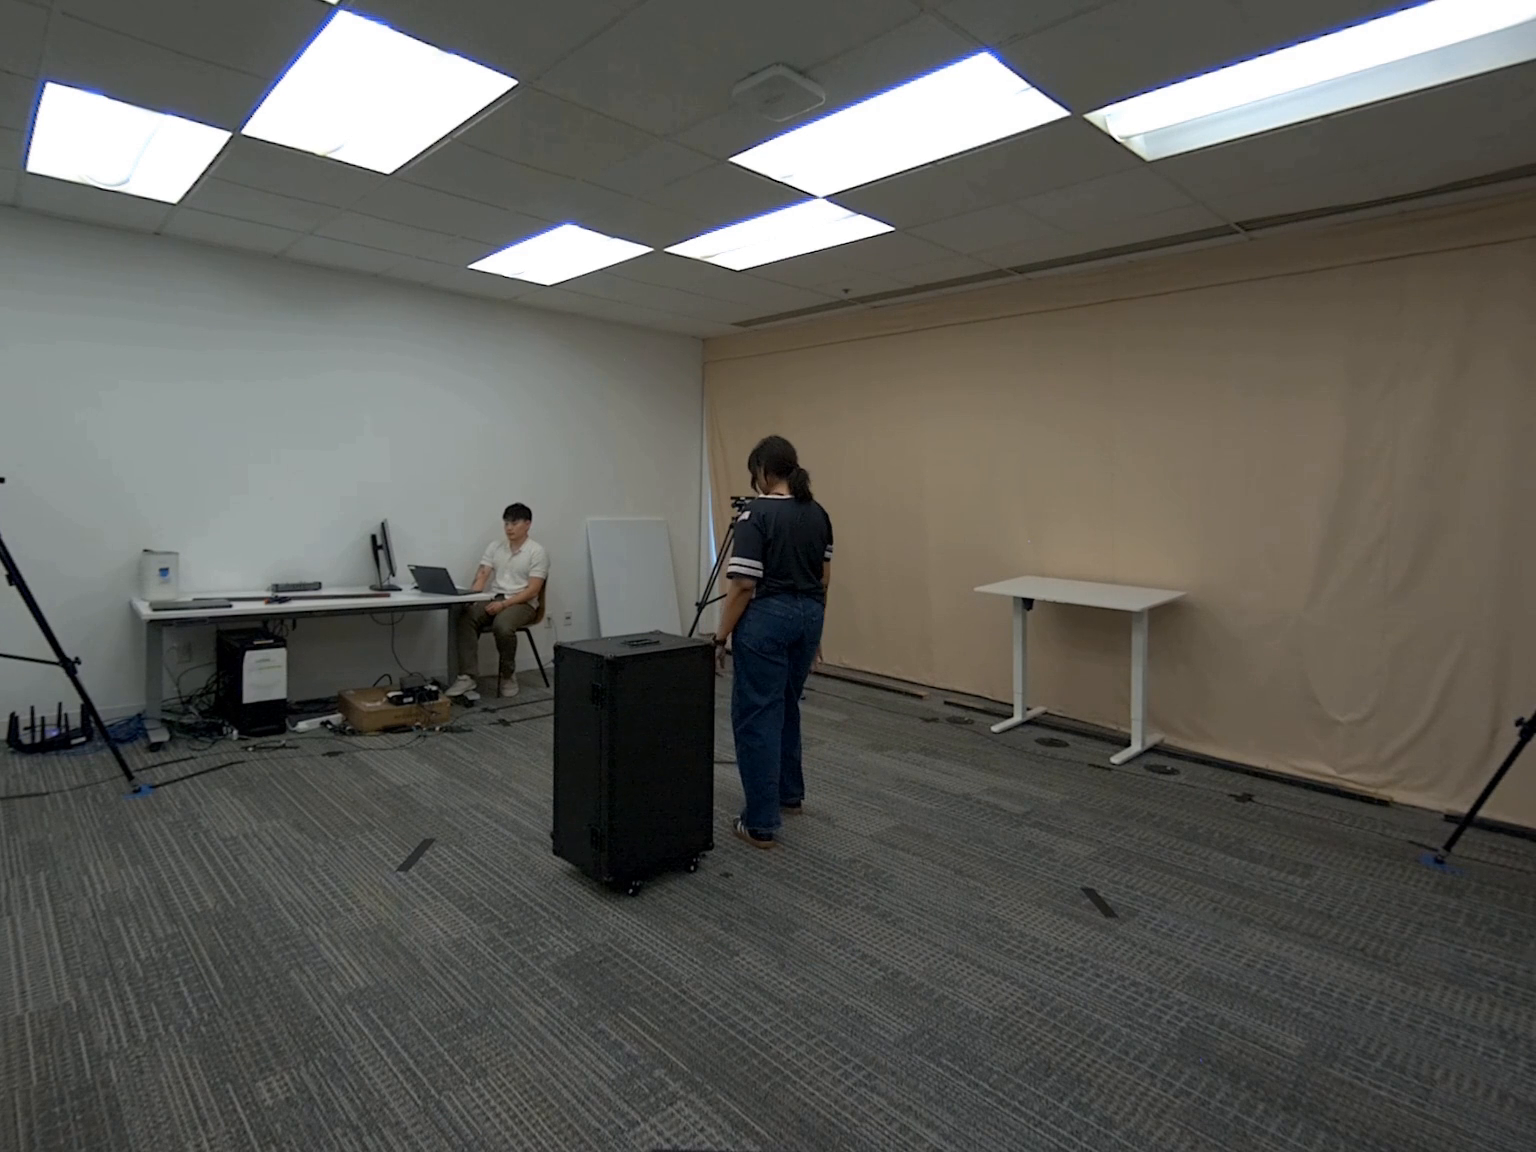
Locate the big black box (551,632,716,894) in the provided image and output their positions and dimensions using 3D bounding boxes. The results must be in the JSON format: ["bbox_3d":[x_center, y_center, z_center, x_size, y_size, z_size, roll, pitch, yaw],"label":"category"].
[{"bbox_3d":[-0.511,0.670,3.112,0.509,0.860,0.406,-2,3,-44],"label":"big black box"}]
